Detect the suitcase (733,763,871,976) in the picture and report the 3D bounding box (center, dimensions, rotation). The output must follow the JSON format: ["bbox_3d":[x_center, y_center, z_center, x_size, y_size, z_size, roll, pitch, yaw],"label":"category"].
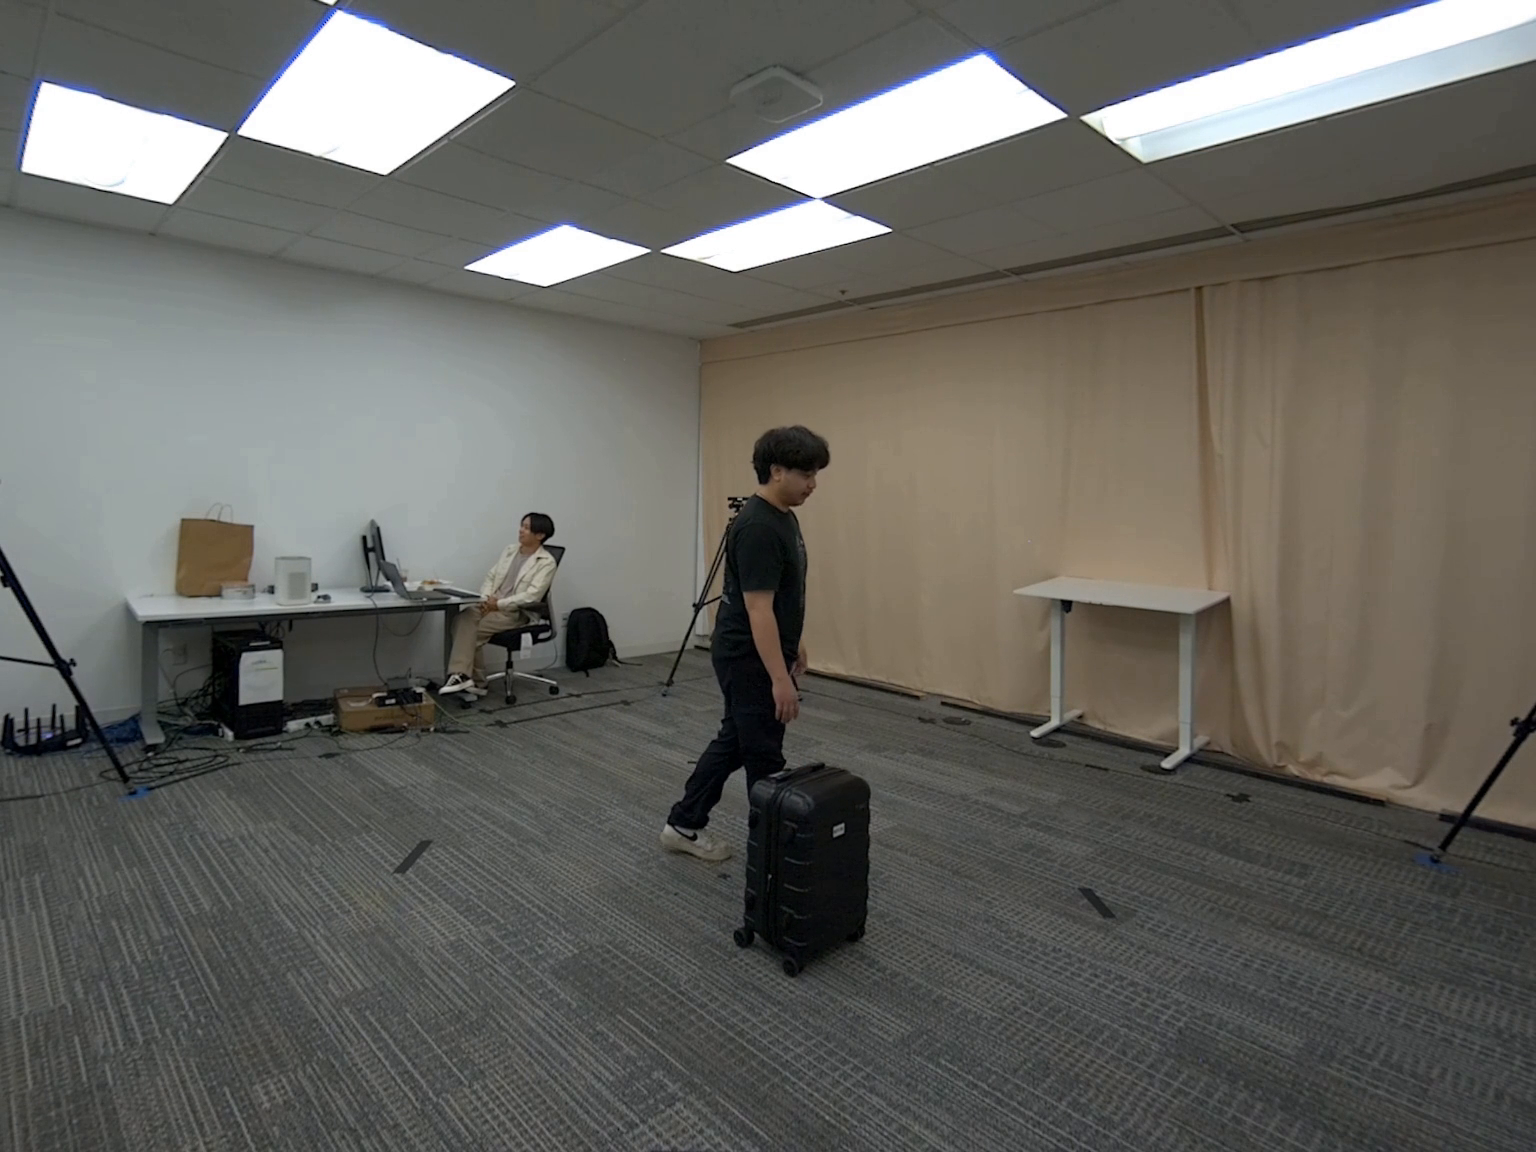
[{"bbox_3d":[0.122,0.883,2.623,0.367,0.547,0.255,-1,7,-44],"label":"suitcase"}]
